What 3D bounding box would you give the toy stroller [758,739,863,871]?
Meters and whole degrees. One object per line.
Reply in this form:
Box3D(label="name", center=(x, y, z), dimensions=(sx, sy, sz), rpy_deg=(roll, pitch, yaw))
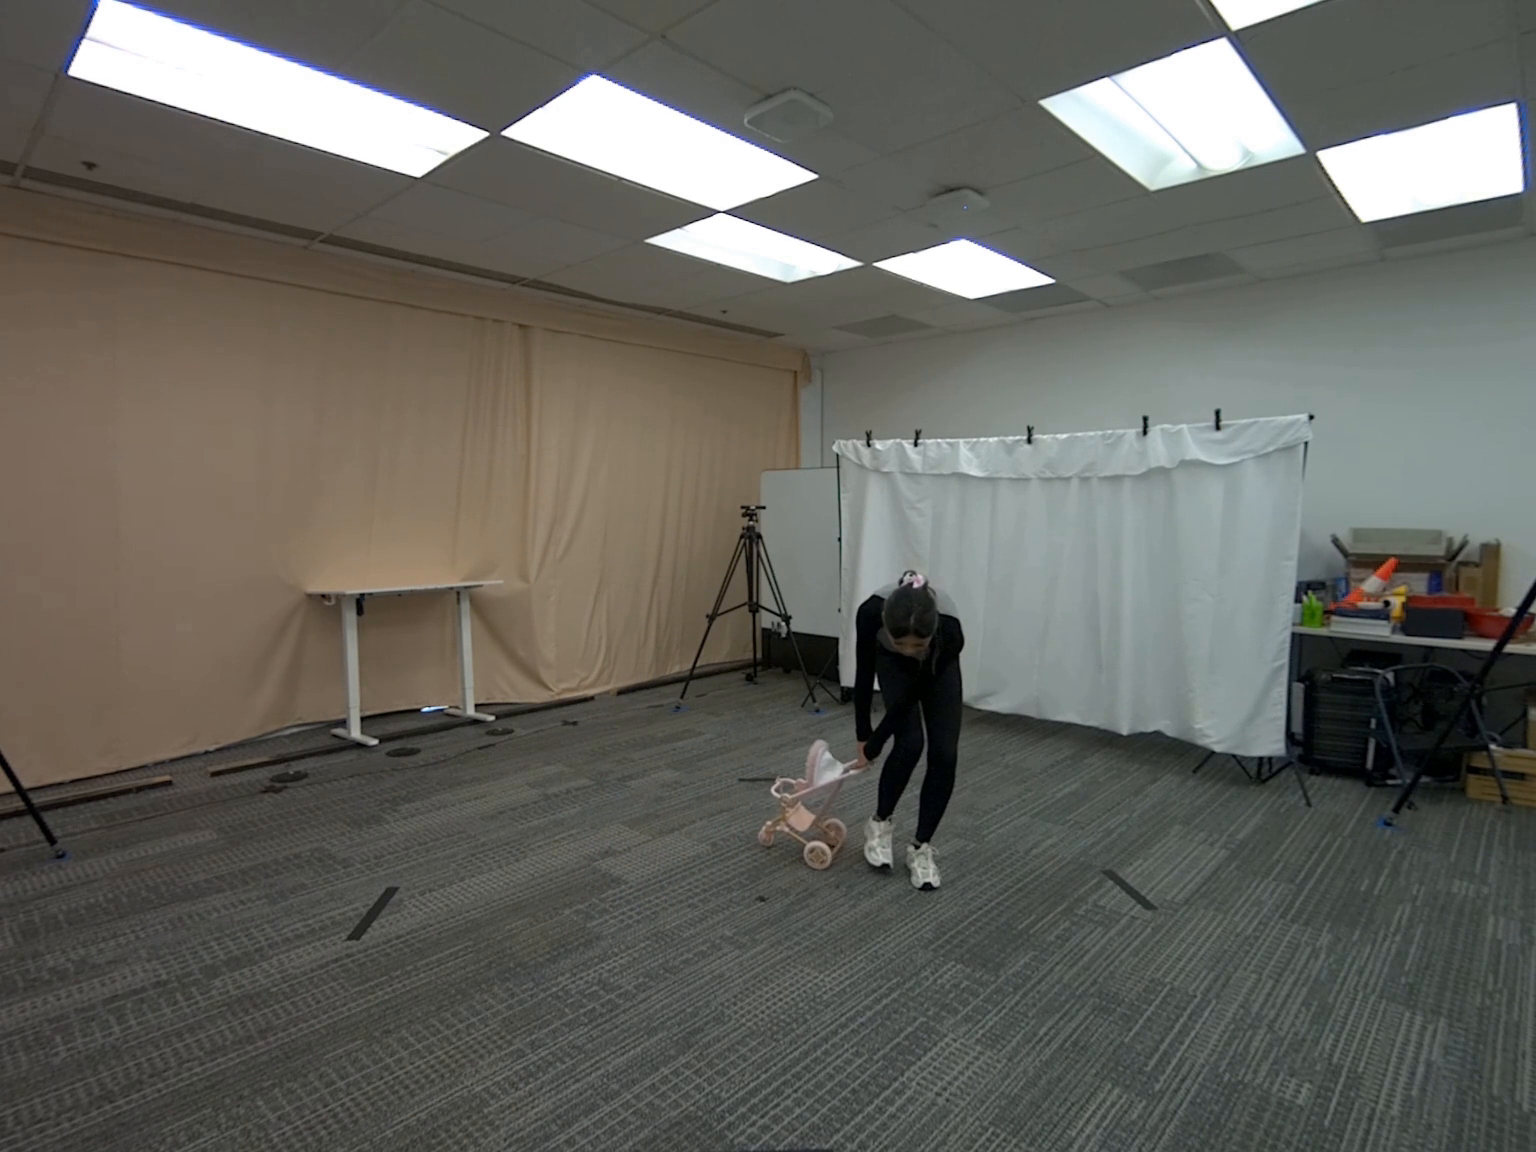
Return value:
Box3D(label="toy stroller", center=(0.181, 0.885, 3.352), dimensions=(0.351, 0.533, 0.275), rpy_deg=(21, 12, 24))
